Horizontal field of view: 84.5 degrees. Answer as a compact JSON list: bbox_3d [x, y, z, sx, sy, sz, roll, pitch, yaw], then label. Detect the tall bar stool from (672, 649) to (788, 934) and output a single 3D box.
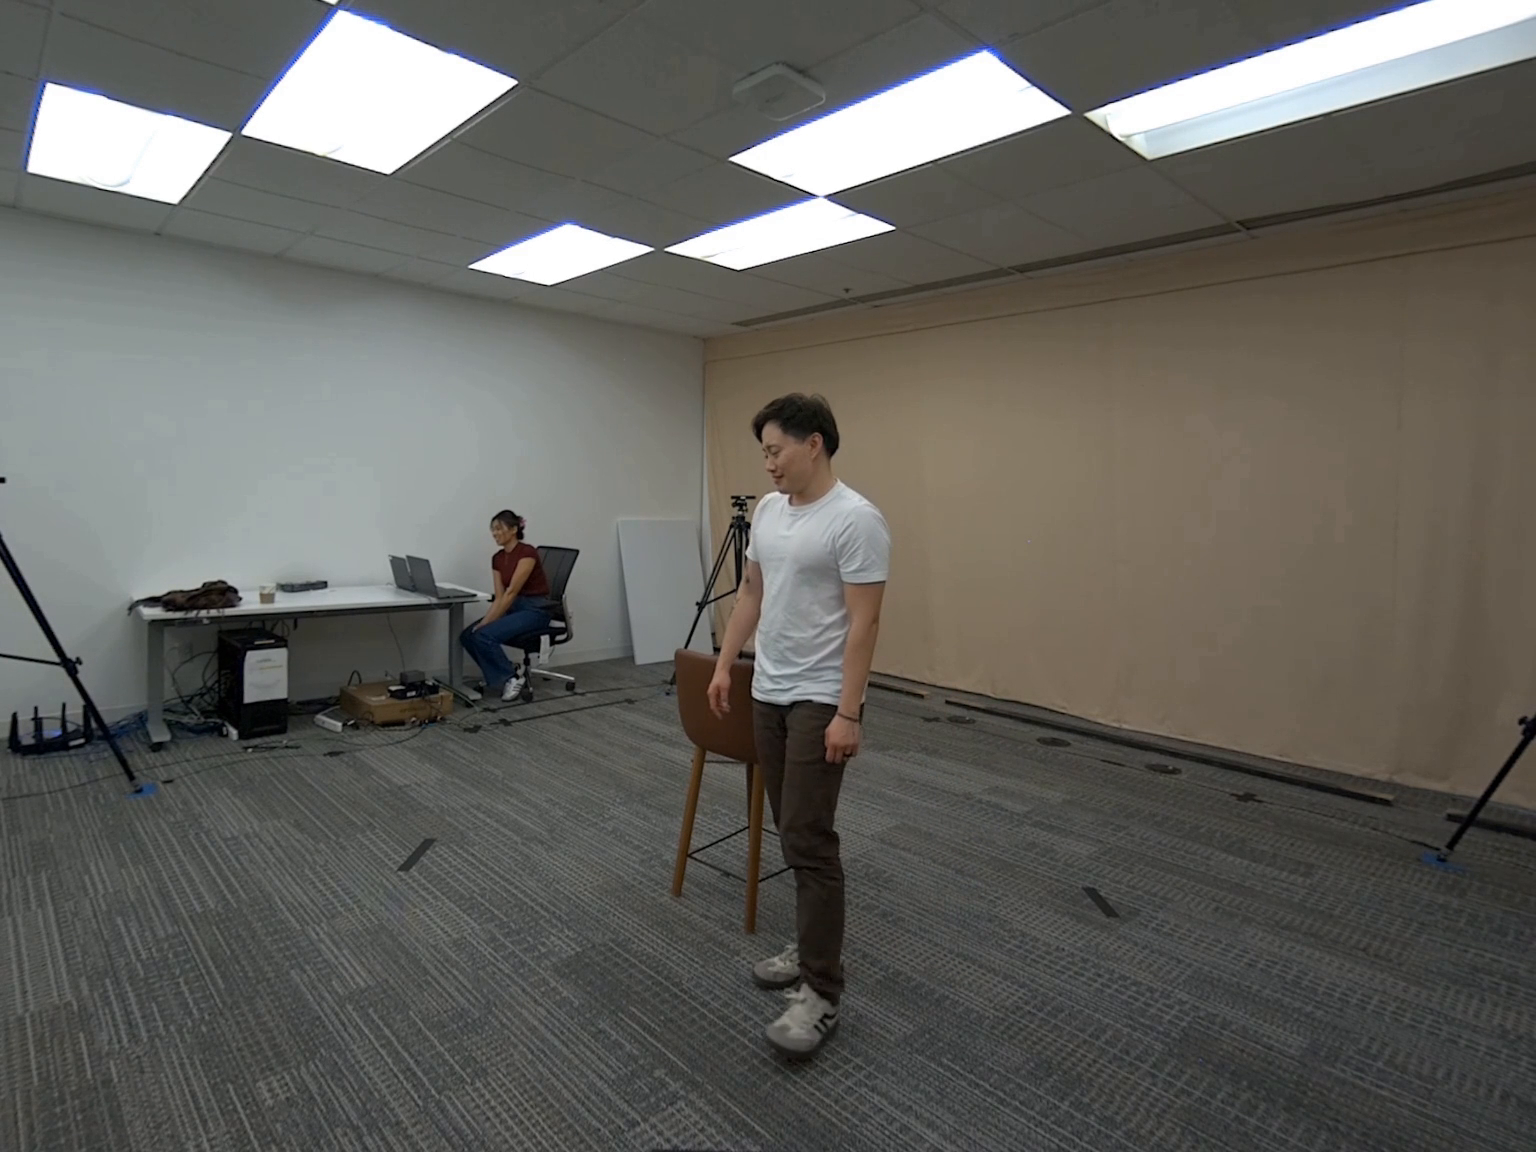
[{"bbox_3d":[-0.057,0.684,2.942,0.468,0.887,0.457,4,6,42],"label":"tall bar stool"}]
